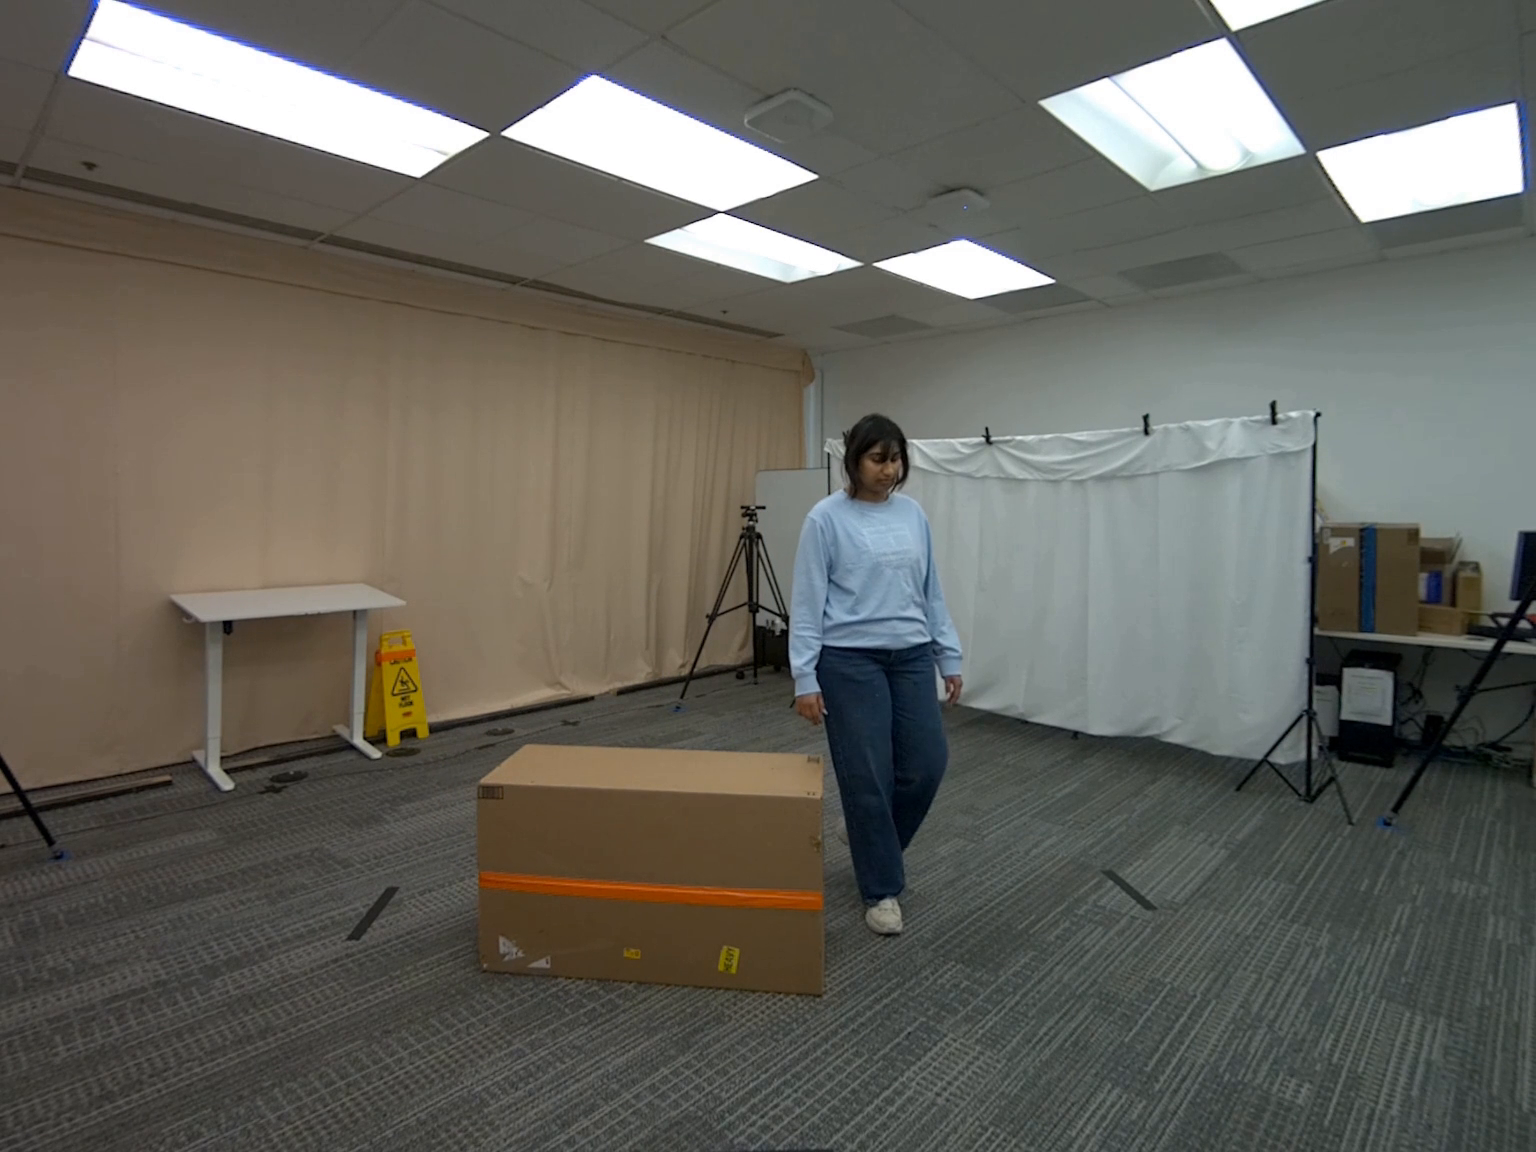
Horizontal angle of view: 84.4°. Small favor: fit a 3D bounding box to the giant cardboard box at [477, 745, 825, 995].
[{"bbox_3d":[-0.341,0.885,2.636,1.034,0.576,0.424,0,4,7],"label":"giant cardboard box"}]
